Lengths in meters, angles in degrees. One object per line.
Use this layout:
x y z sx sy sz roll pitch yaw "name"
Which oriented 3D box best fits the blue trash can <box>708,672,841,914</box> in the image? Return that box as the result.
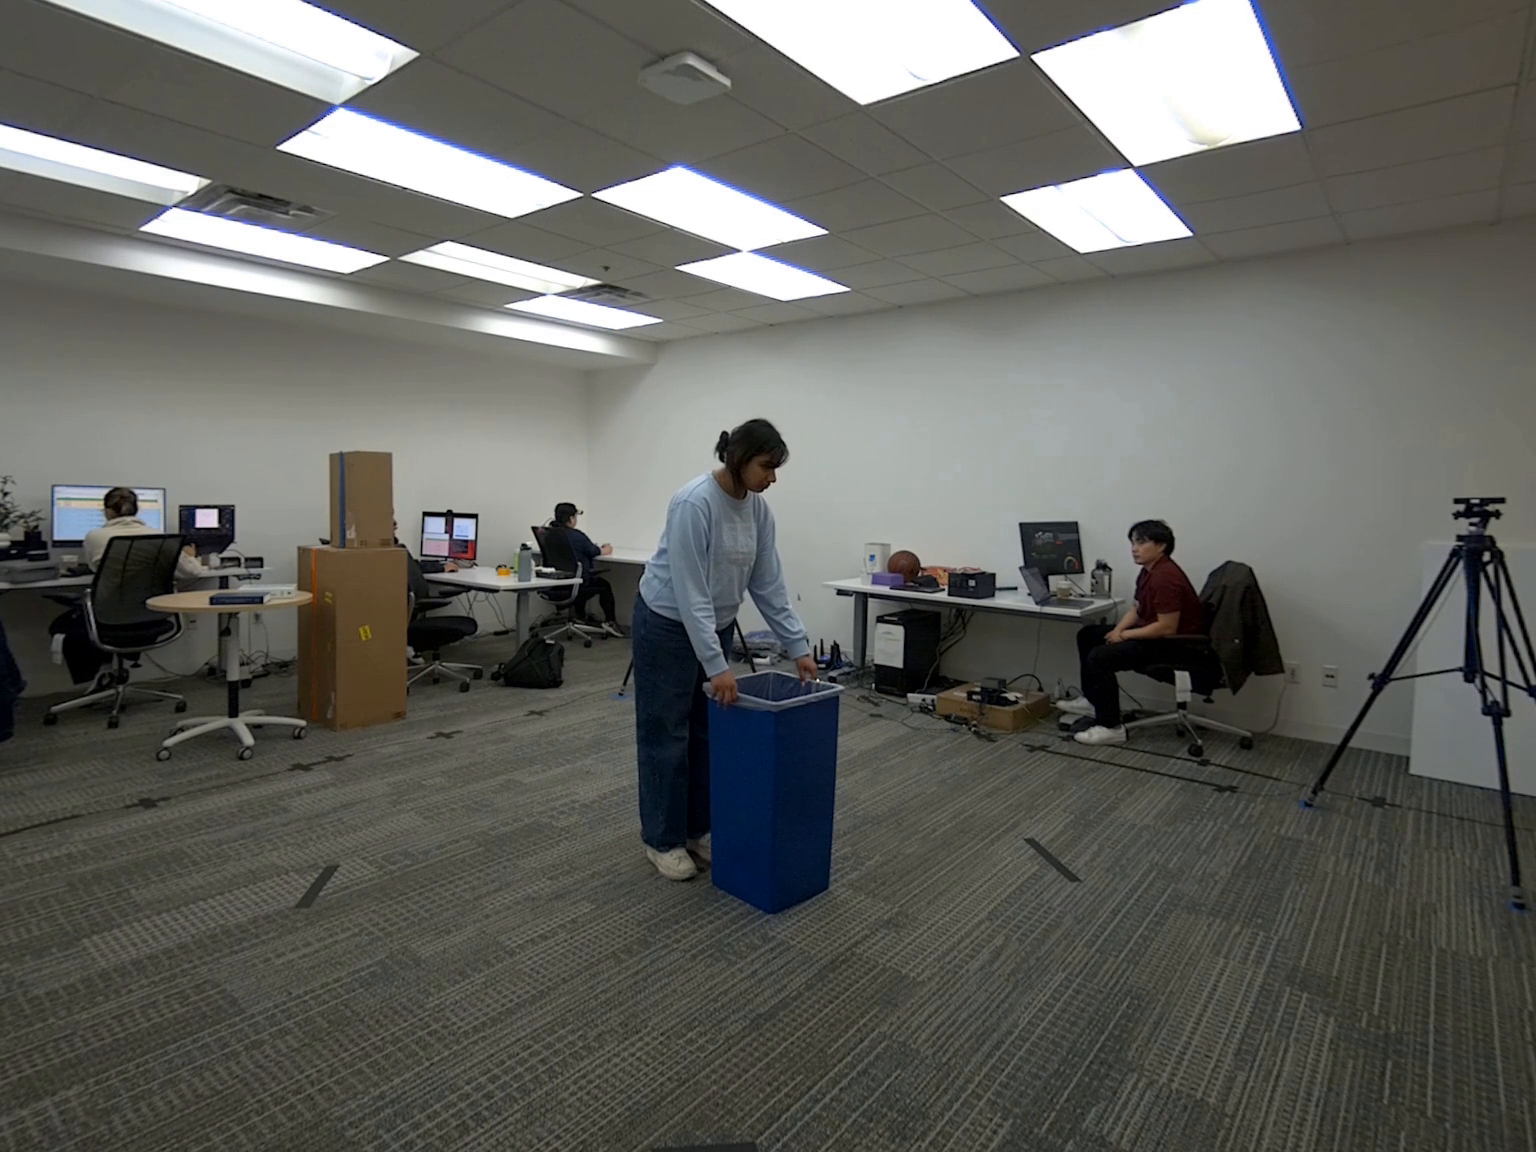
0.007 0.731 2.962 0.391 0.712 0.362 4 4 44 "blue trash can"
